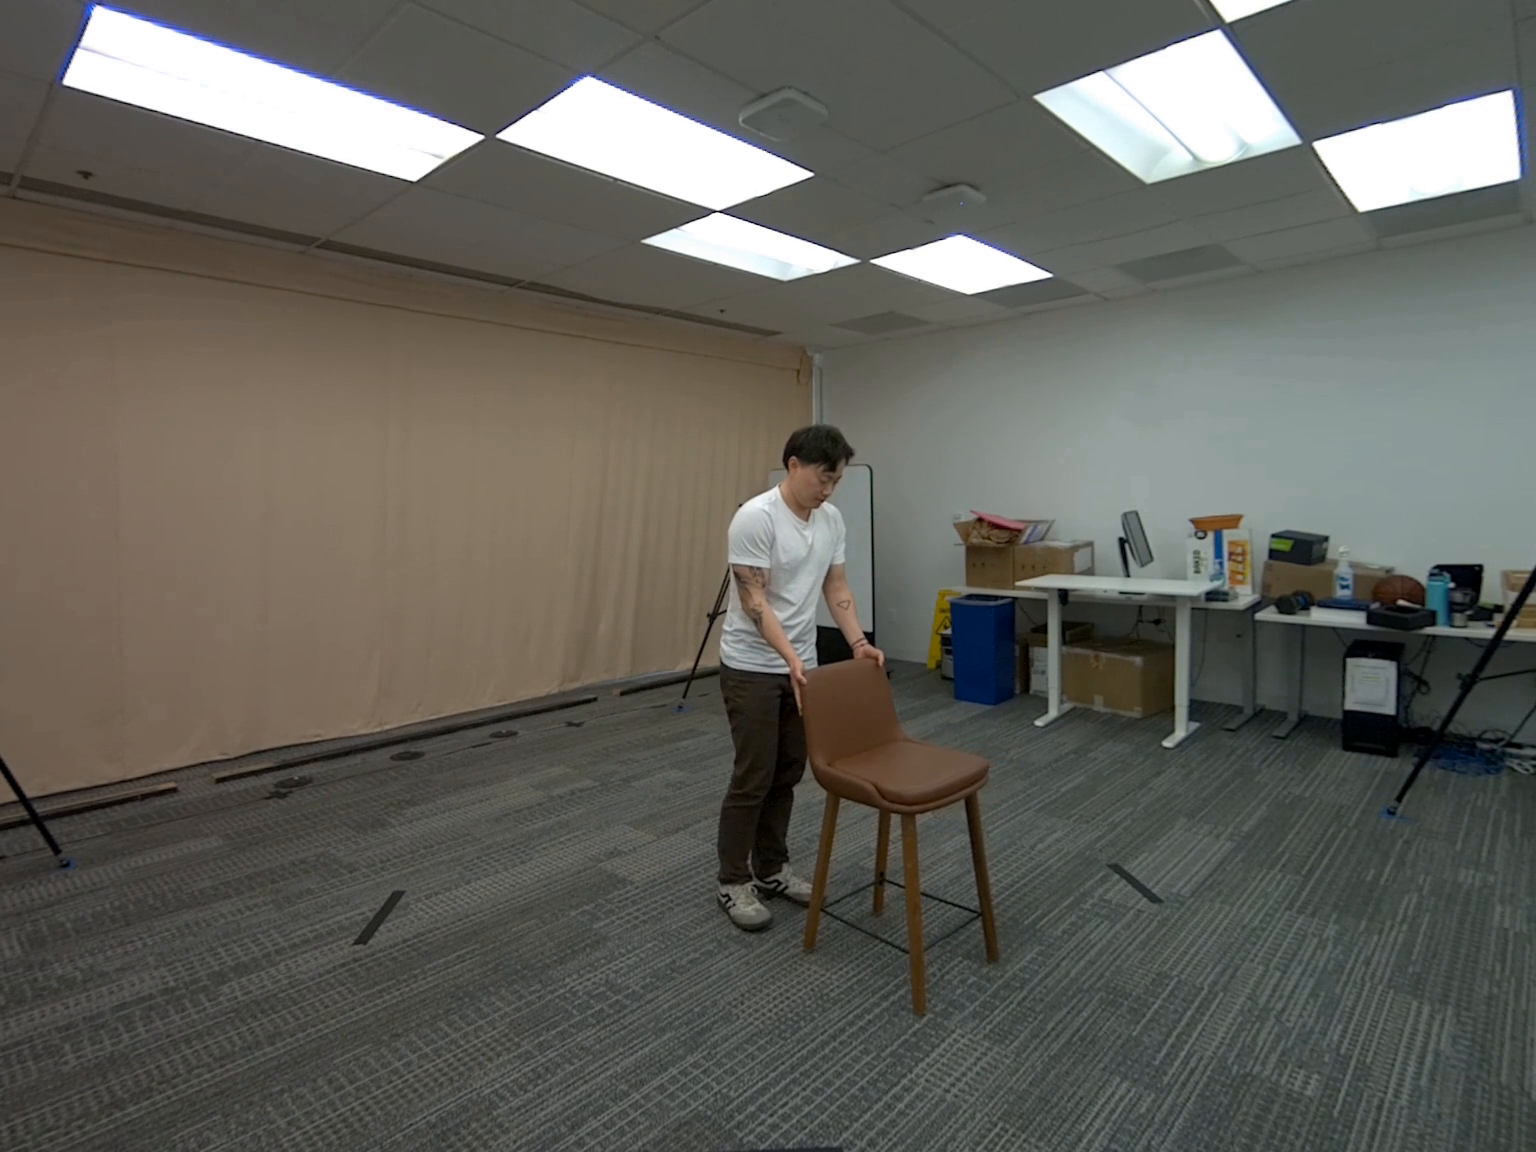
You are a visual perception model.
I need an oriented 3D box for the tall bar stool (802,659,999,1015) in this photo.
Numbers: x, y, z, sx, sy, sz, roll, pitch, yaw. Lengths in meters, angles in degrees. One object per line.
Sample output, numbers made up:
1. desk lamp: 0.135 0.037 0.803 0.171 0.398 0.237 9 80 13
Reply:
1. tall bar stool: 0.393 0.731 2.560 0.443 0.888 0.483 -4 3 -43
